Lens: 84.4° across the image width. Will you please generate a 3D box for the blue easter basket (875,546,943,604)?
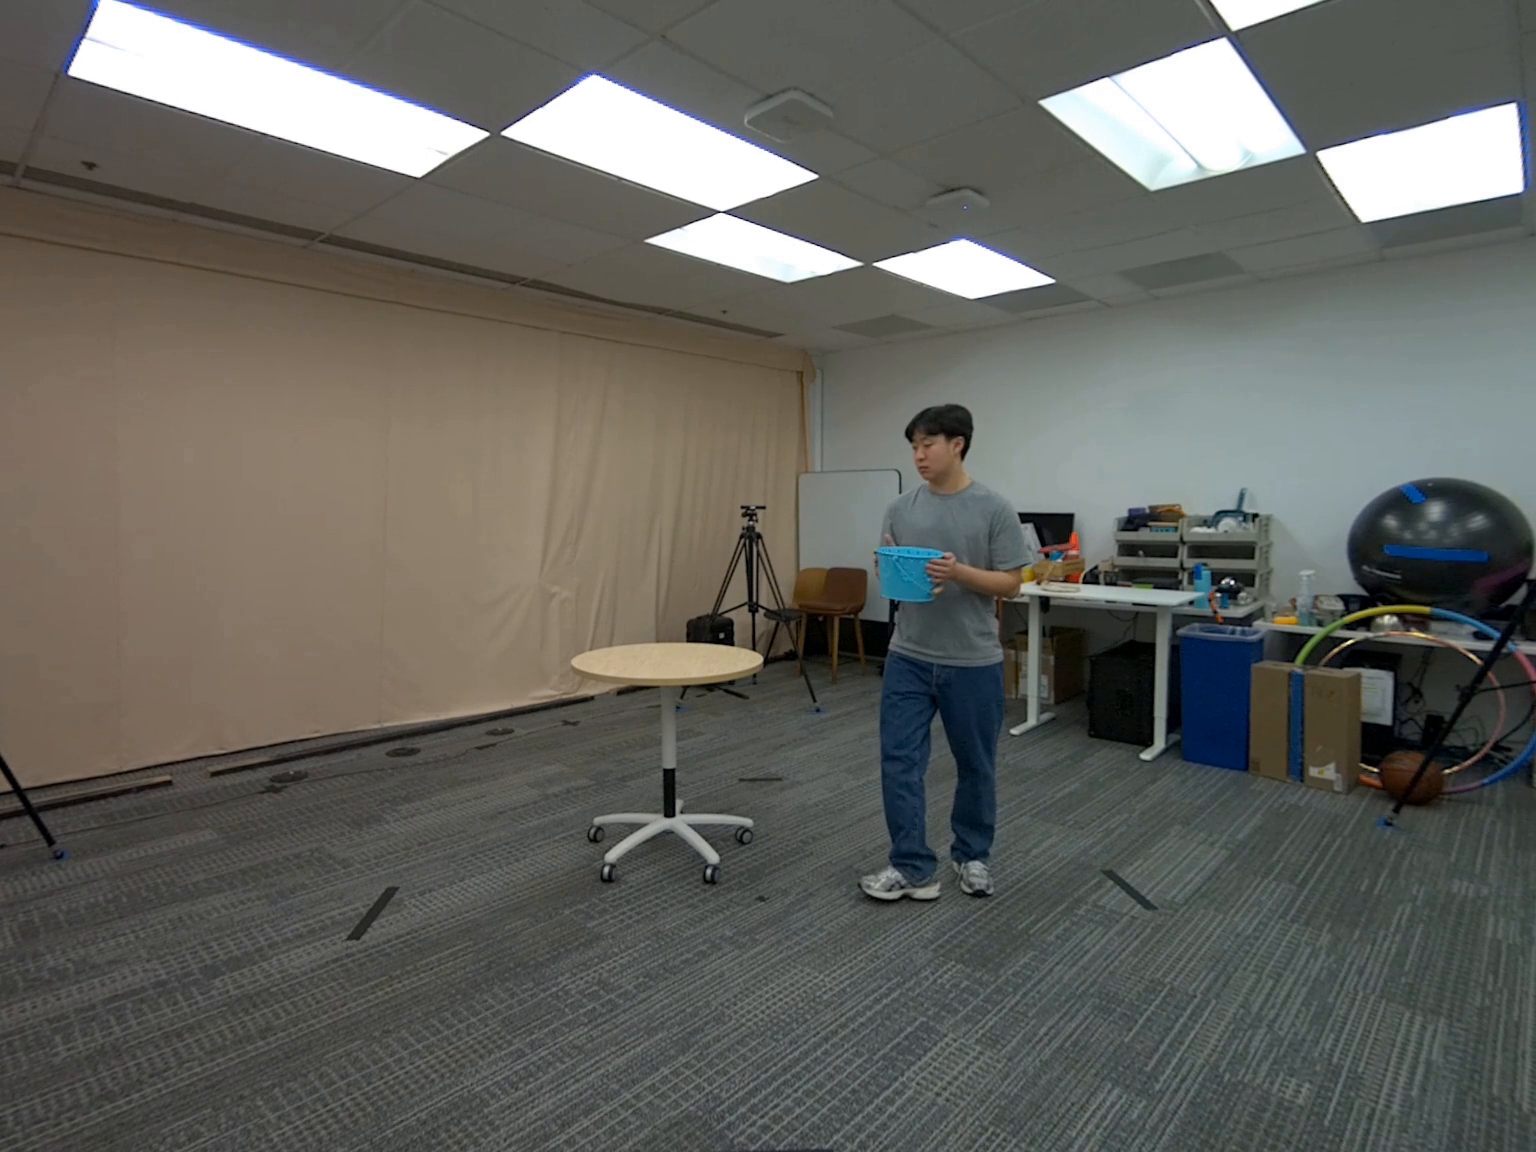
[{"bbox_3d":[0.492,-0.005,2.842,0.243,0.155,0.245,2,7,-2],"label":"blue easter basket"}]
